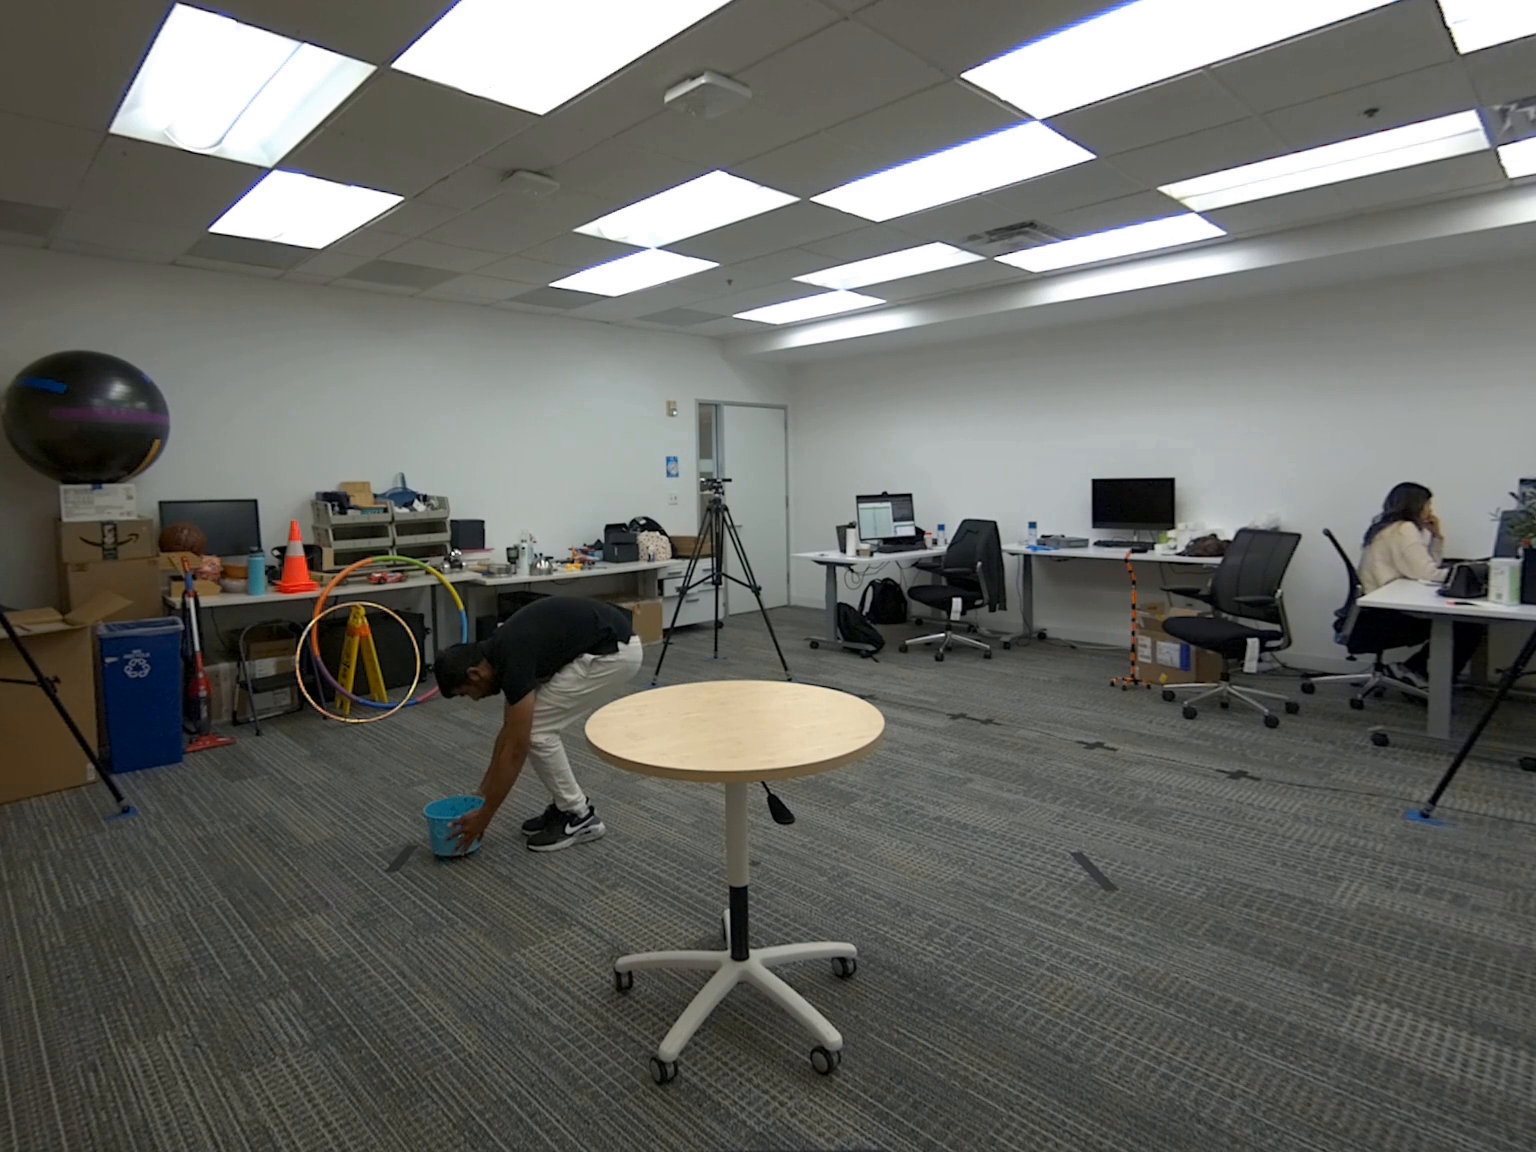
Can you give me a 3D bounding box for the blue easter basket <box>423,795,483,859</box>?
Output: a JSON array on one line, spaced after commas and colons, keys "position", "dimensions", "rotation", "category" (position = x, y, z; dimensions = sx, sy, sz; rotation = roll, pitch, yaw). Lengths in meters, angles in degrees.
[{"position": [-1.176, 0.936, 3.239], "dimensions": [0.243, 0.155, 0.245], "rotation": [0, 5, -2], "category": "blue easter basket"}]
